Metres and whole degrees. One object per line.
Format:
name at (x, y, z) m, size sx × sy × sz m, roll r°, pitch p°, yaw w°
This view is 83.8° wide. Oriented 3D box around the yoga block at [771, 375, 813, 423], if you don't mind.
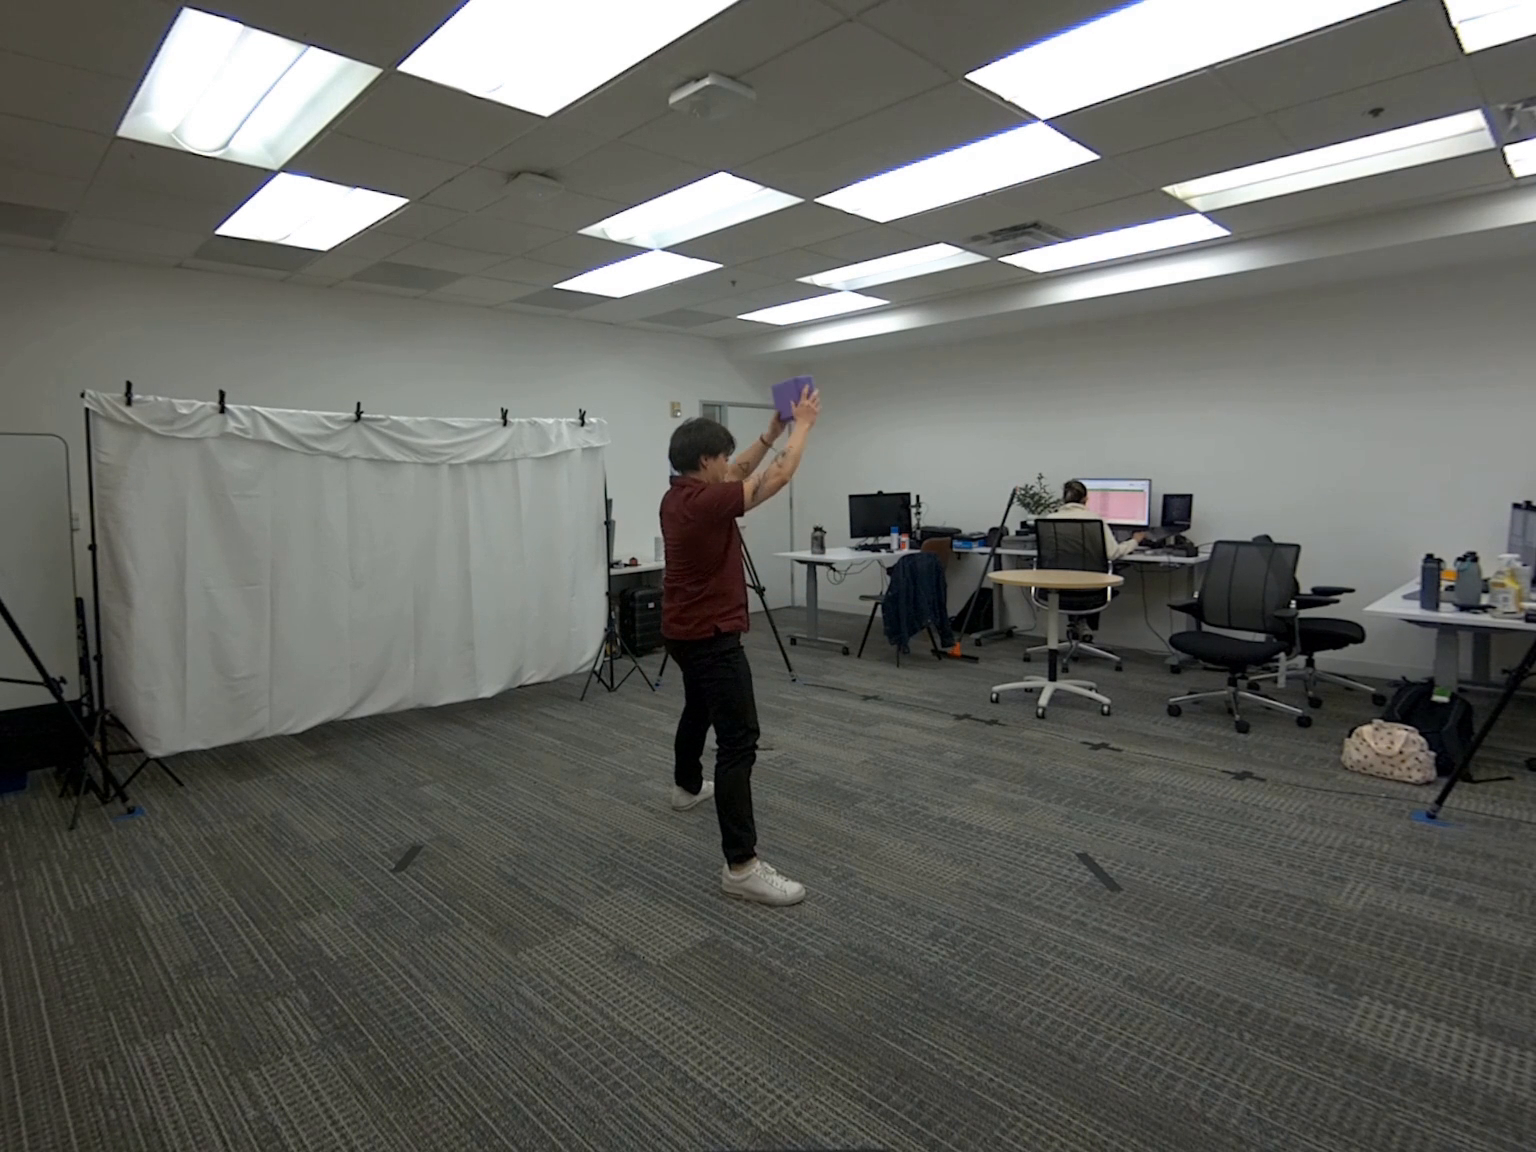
yoga block at (0.099, -0.672, 3.300) m, size 0.075 × 0.148 × 0.234 m, roll -12°, pitch 6°, yaw -21°
